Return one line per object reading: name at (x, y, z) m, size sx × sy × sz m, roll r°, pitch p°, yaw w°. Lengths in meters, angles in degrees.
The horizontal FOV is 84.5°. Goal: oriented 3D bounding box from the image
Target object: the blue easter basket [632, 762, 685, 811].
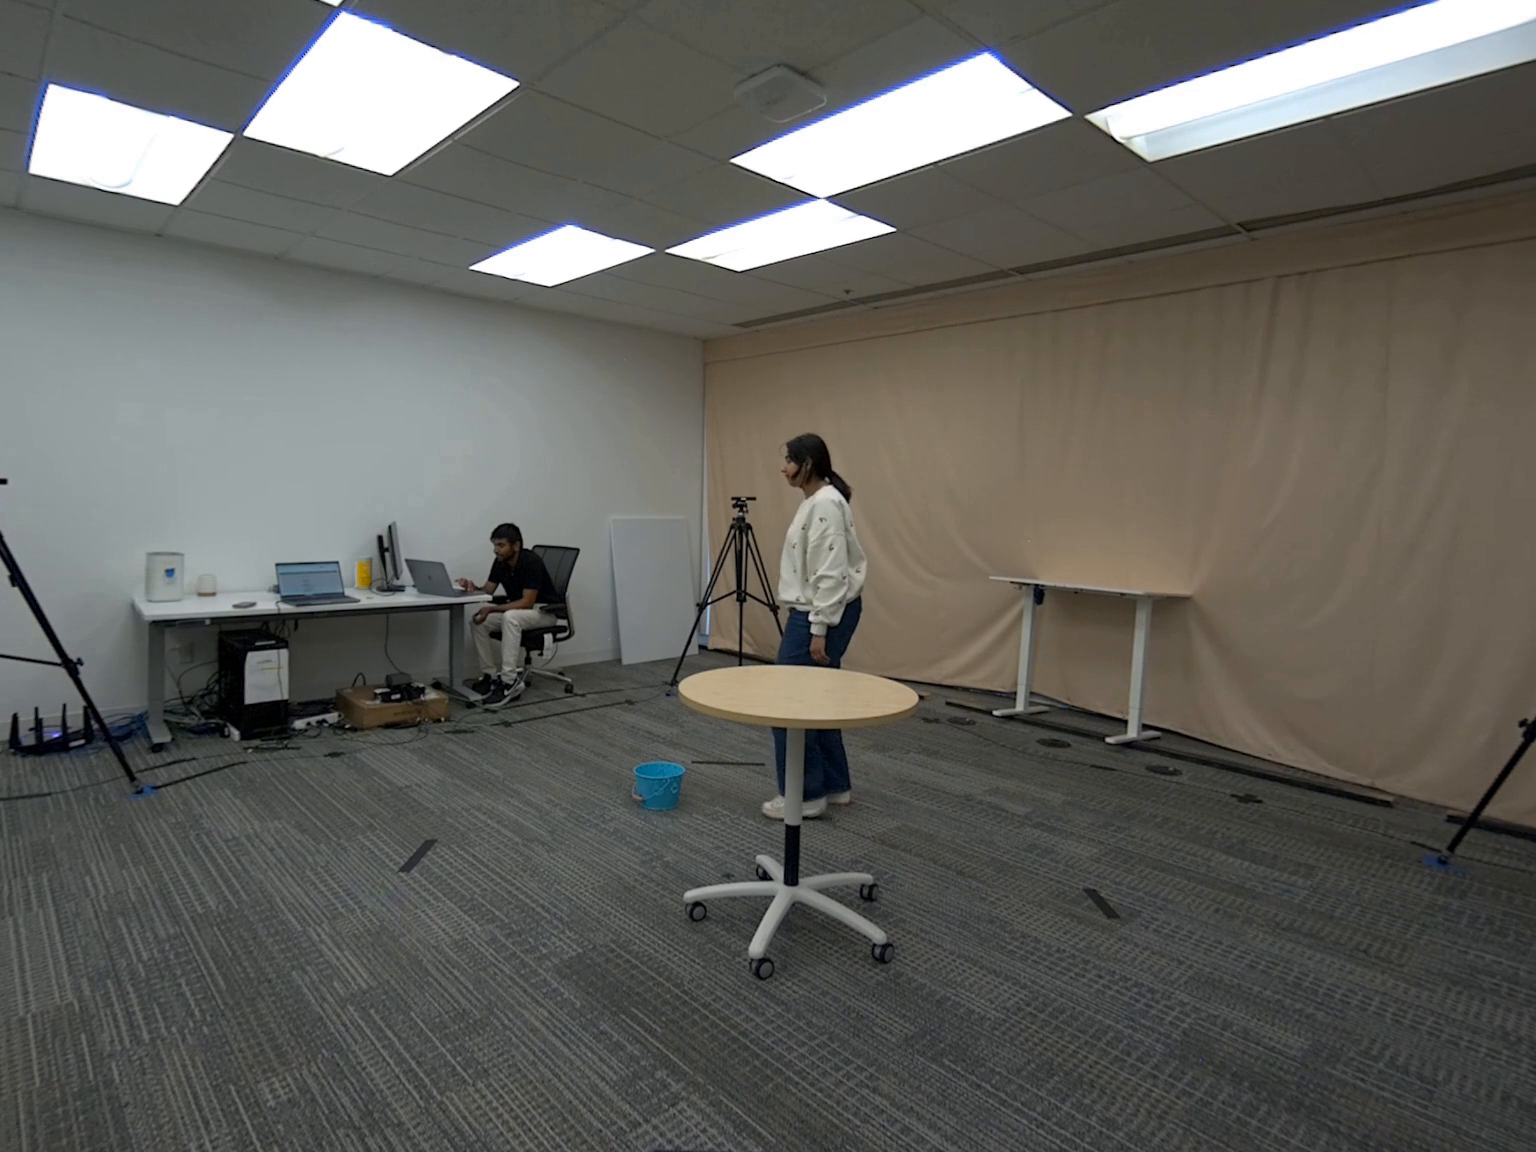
blue easter basket at (-0.508, 0.956, 3.841) m, size 0.243 × 0.155 × 0.244 m, roll 2°, pitch 5°, yaw -2°
